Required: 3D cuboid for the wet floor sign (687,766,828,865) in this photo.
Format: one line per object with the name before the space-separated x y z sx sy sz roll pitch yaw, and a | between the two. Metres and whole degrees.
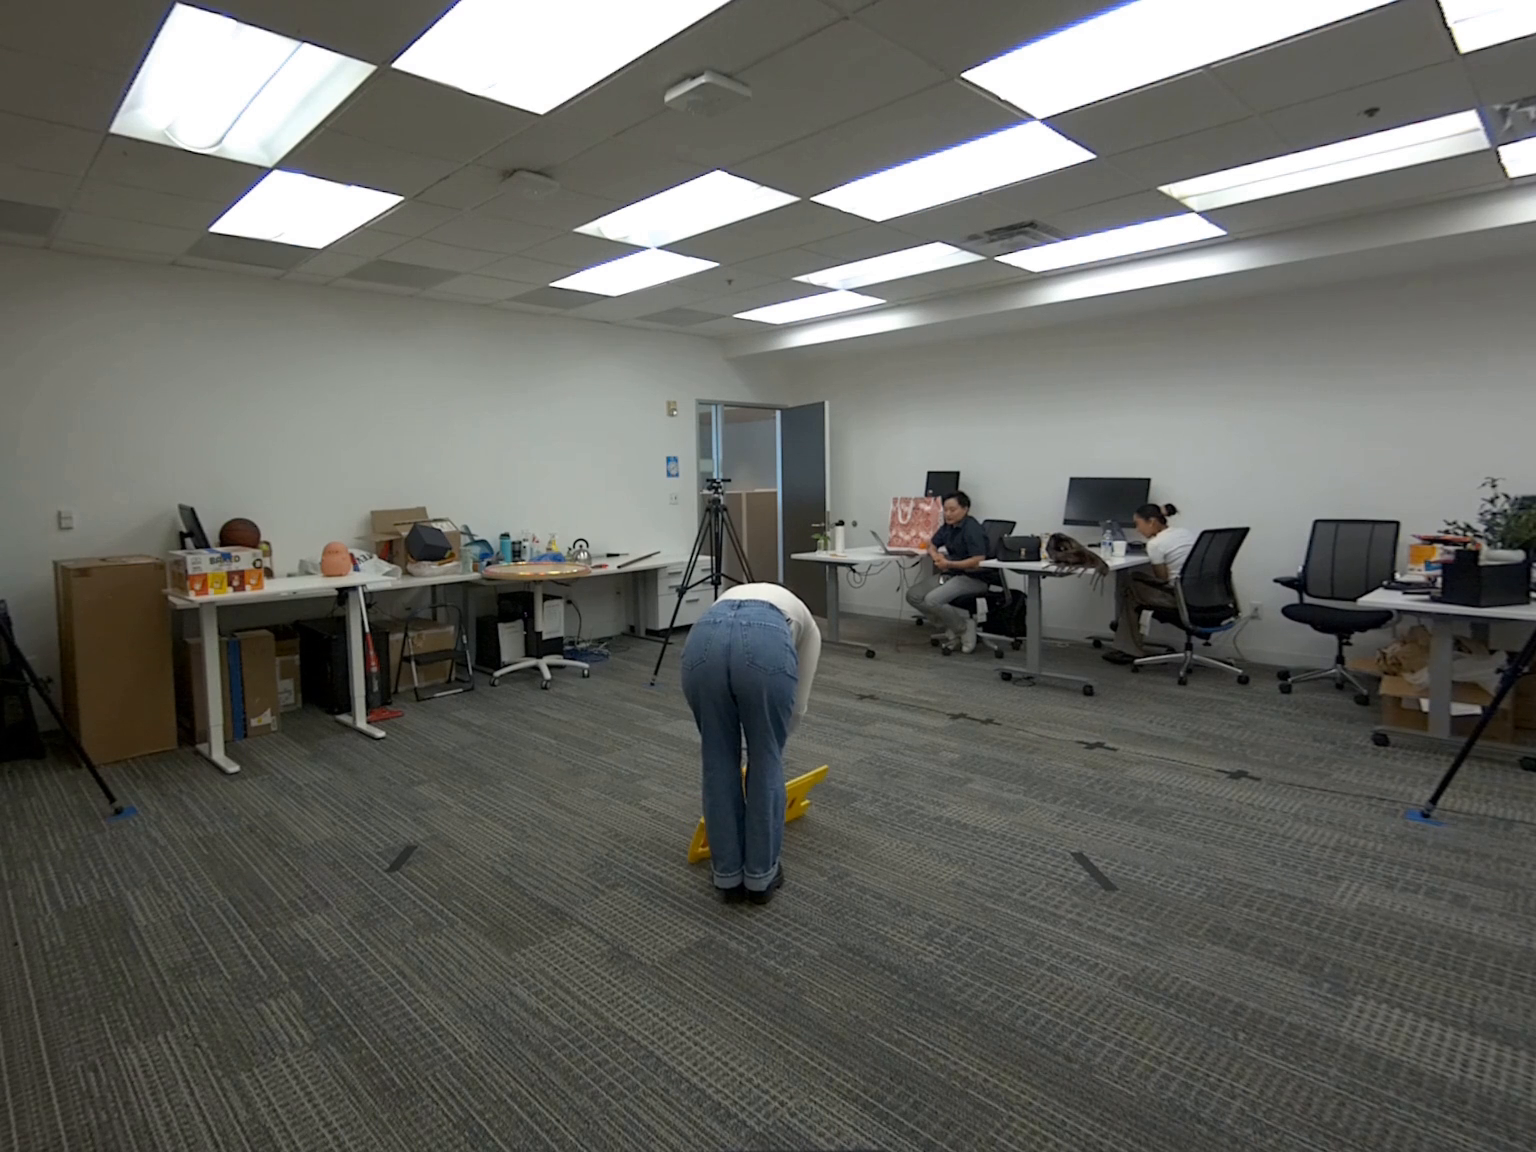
wet floor sign | -0.080 0.889 3.304 0.299 0.278 0.634 29 27 25
